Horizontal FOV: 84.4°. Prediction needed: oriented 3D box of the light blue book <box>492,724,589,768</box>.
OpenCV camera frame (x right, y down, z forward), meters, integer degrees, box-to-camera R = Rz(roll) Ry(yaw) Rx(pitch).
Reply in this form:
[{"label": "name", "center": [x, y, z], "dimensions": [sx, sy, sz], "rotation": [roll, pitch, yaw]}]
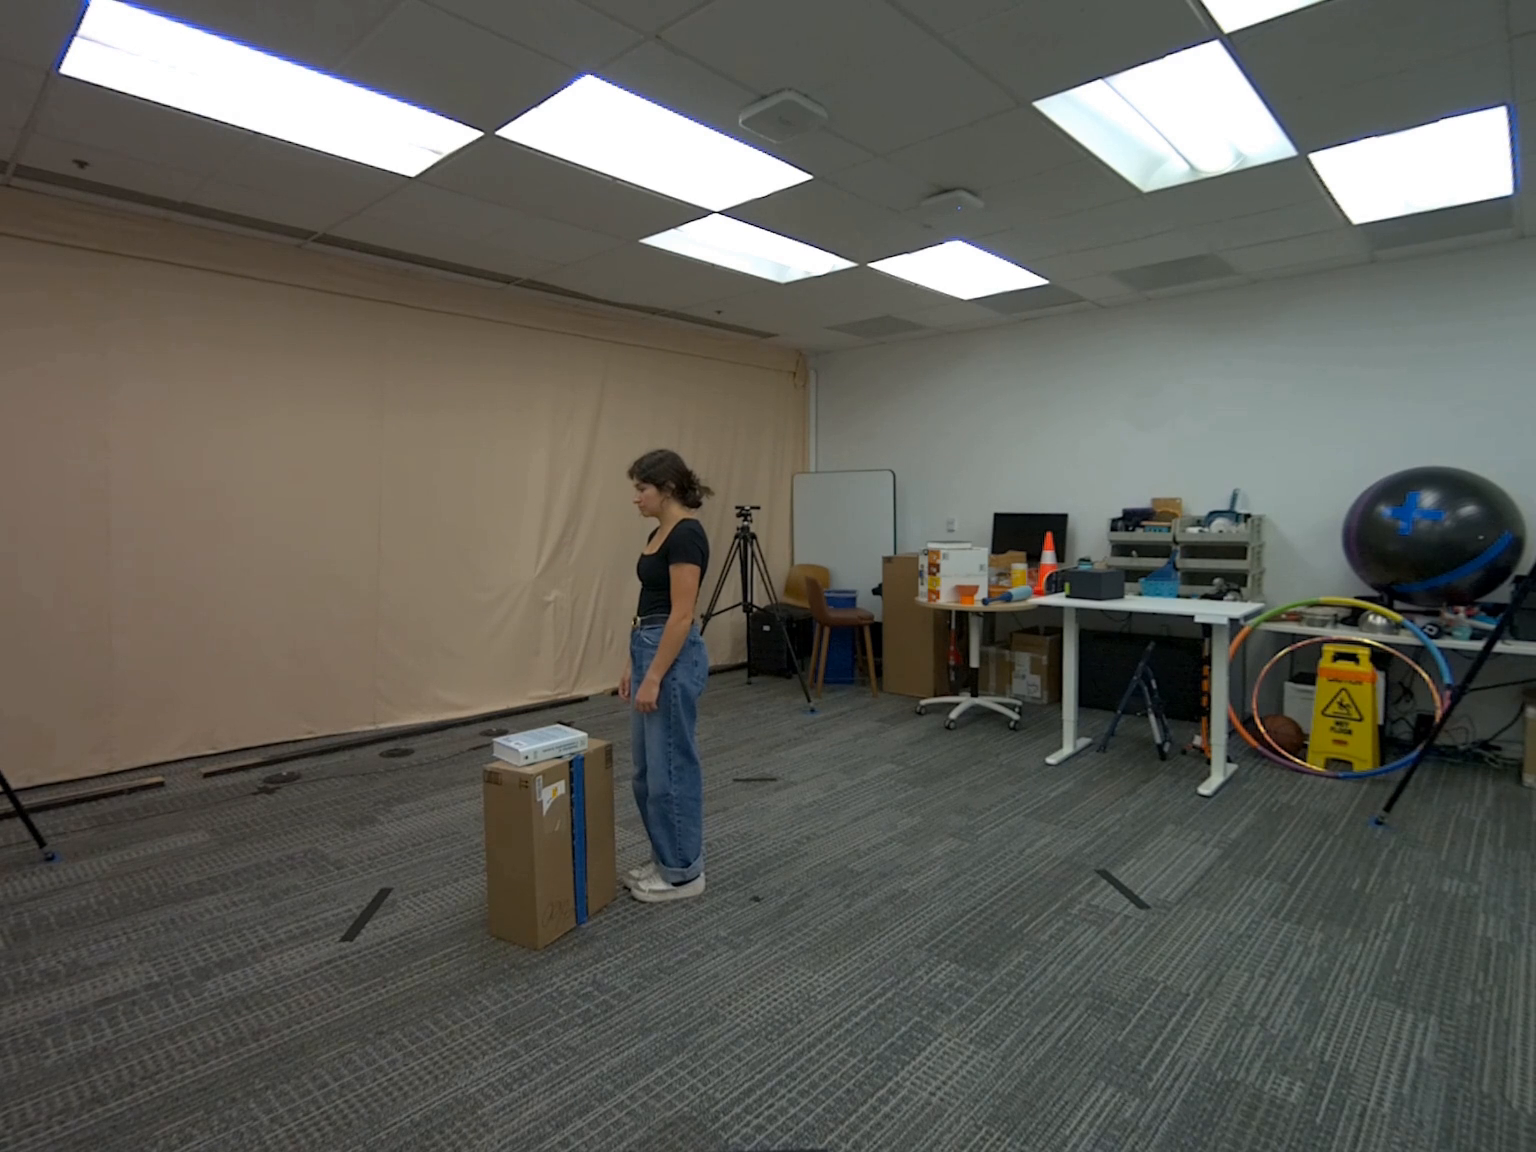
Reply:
[{"label": "light blue book", "center": [-0.772, 0.570, 2.848], "dimensions": [0.198, 0.059, 0.253], "rotation": [2, 6, 45]}]
